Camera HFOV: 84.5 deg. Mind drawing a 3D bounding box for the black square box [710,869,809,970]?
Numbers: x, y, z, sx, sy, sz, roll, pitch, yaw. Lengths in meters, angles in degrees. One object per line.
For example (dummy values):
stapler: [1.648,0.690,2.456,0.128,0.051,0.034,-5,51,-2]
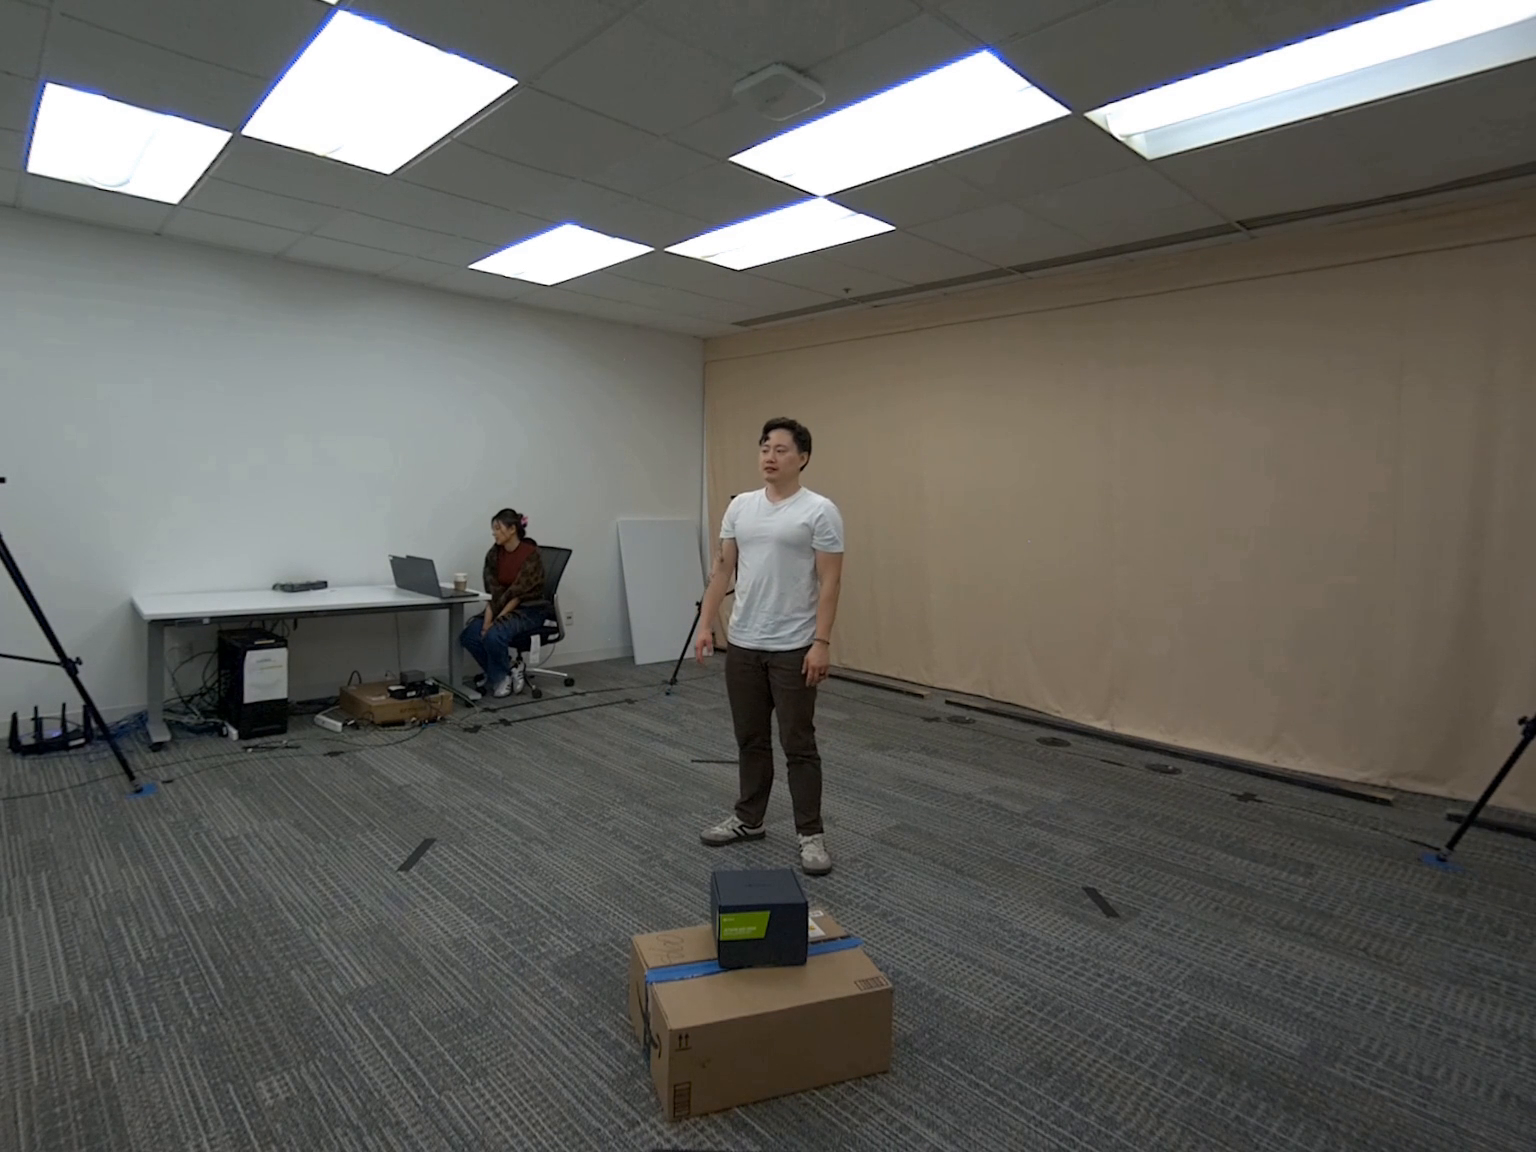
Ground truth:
black square box: [-0.037,0.881,2.213,0.226,0.155,0.219,0,4,-9]
